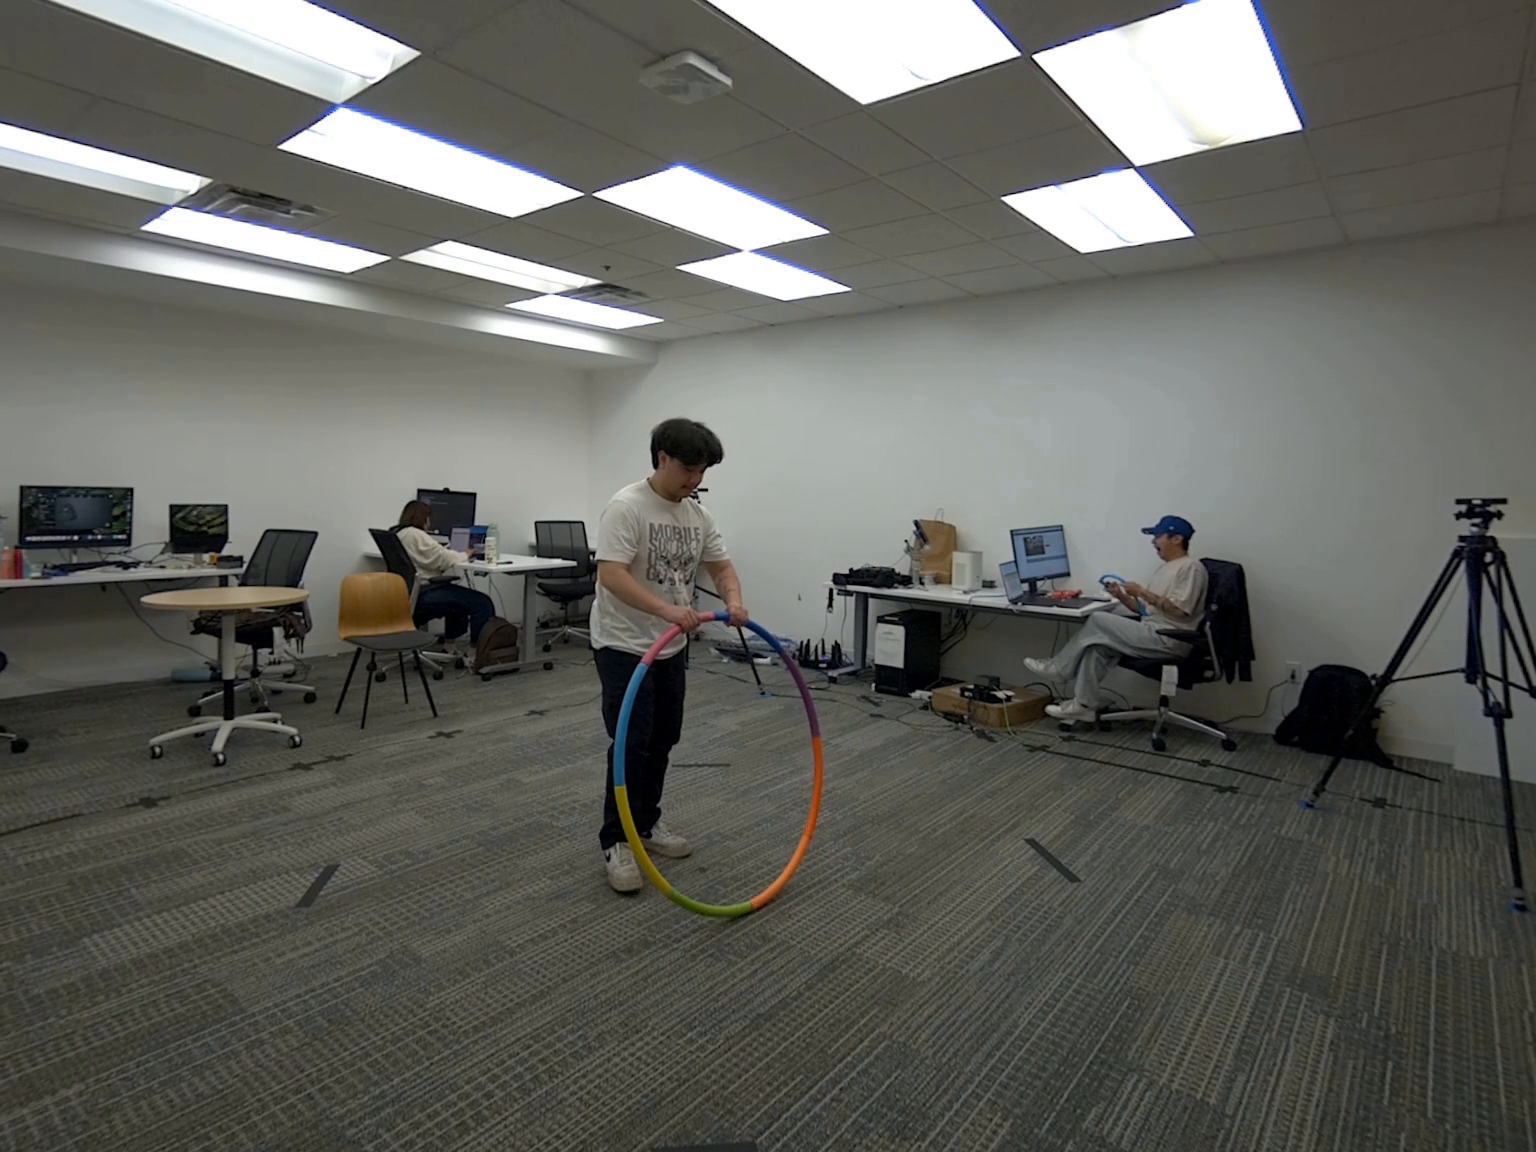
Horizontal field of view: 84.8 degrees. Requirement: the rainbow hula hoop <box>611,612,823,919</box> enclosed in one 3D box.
[{"bbox_3d":[-0.133,0.622,2.867,0.053,0.993,0.956,-17,-9,42],"label":"rainbow hula hoop"}]
